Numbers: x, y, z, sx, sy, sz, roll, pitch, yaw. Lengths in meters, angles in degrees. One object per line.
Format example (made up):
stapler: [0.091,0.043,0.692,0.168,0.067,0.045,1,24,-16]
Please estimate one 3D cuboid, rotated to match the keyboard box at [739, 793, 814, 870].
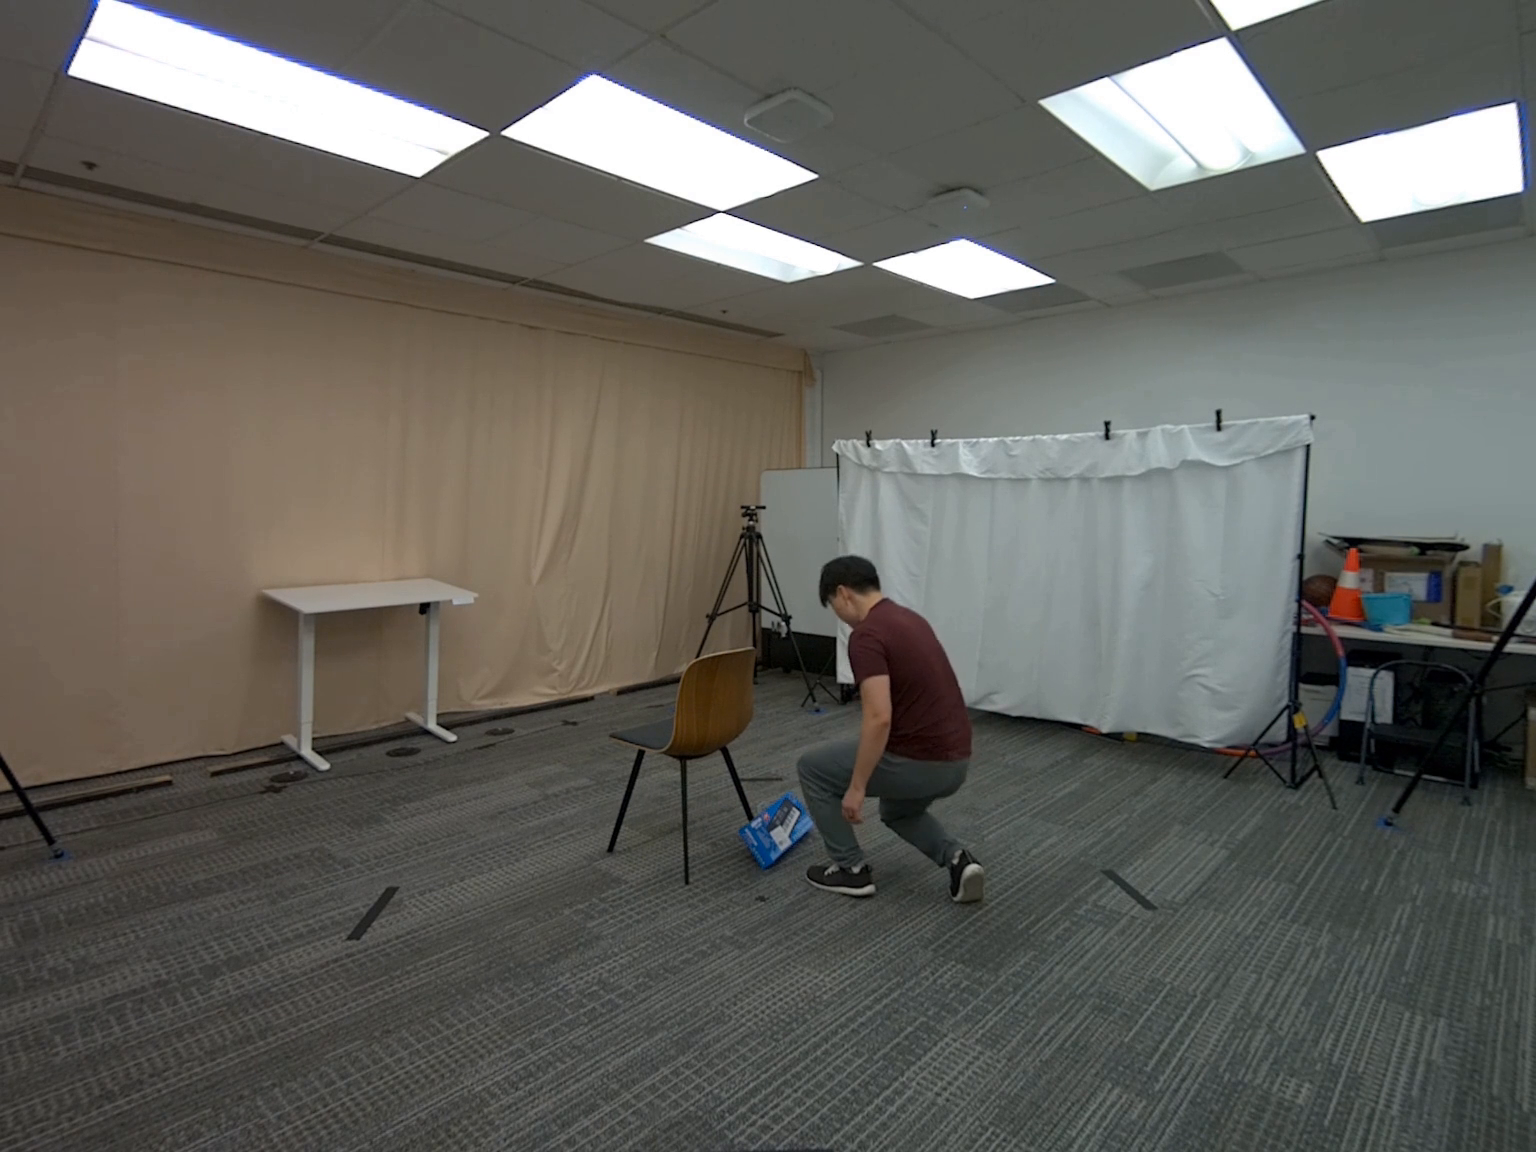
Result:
keyboard box: [0.043,1.025,3.424,0.059,0.178,0.427,-41,-13,22]
